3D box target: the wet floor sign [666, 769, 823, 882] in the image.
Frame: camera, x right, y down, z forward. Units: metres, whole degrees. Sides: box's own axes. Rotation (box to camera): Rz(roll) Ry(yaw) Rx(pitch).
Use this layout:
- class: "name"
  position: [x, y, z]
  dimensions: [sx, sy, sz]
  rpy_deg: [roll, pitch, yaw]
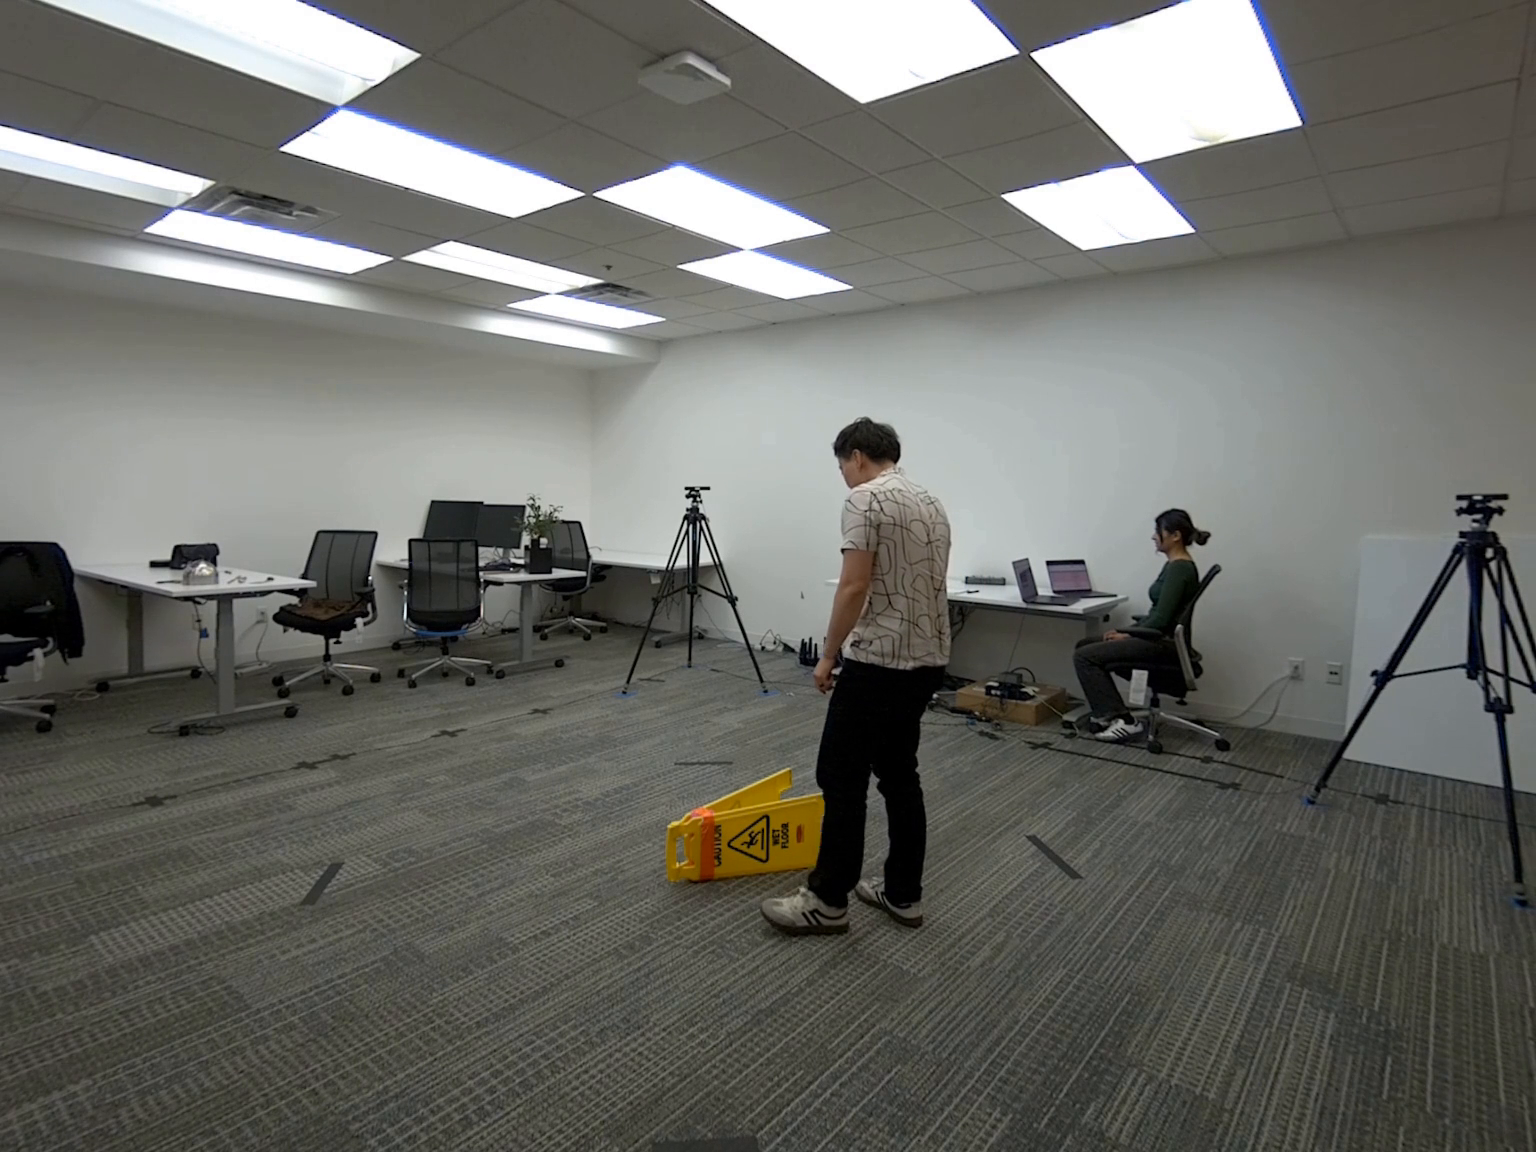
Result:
- class: "wet floor sign"
  position: [-0.094, 0.935, 3.109]
  dimensions: [0.628, 0.281, 0.299]
  rpy_deg: [-4, 6, -34]
